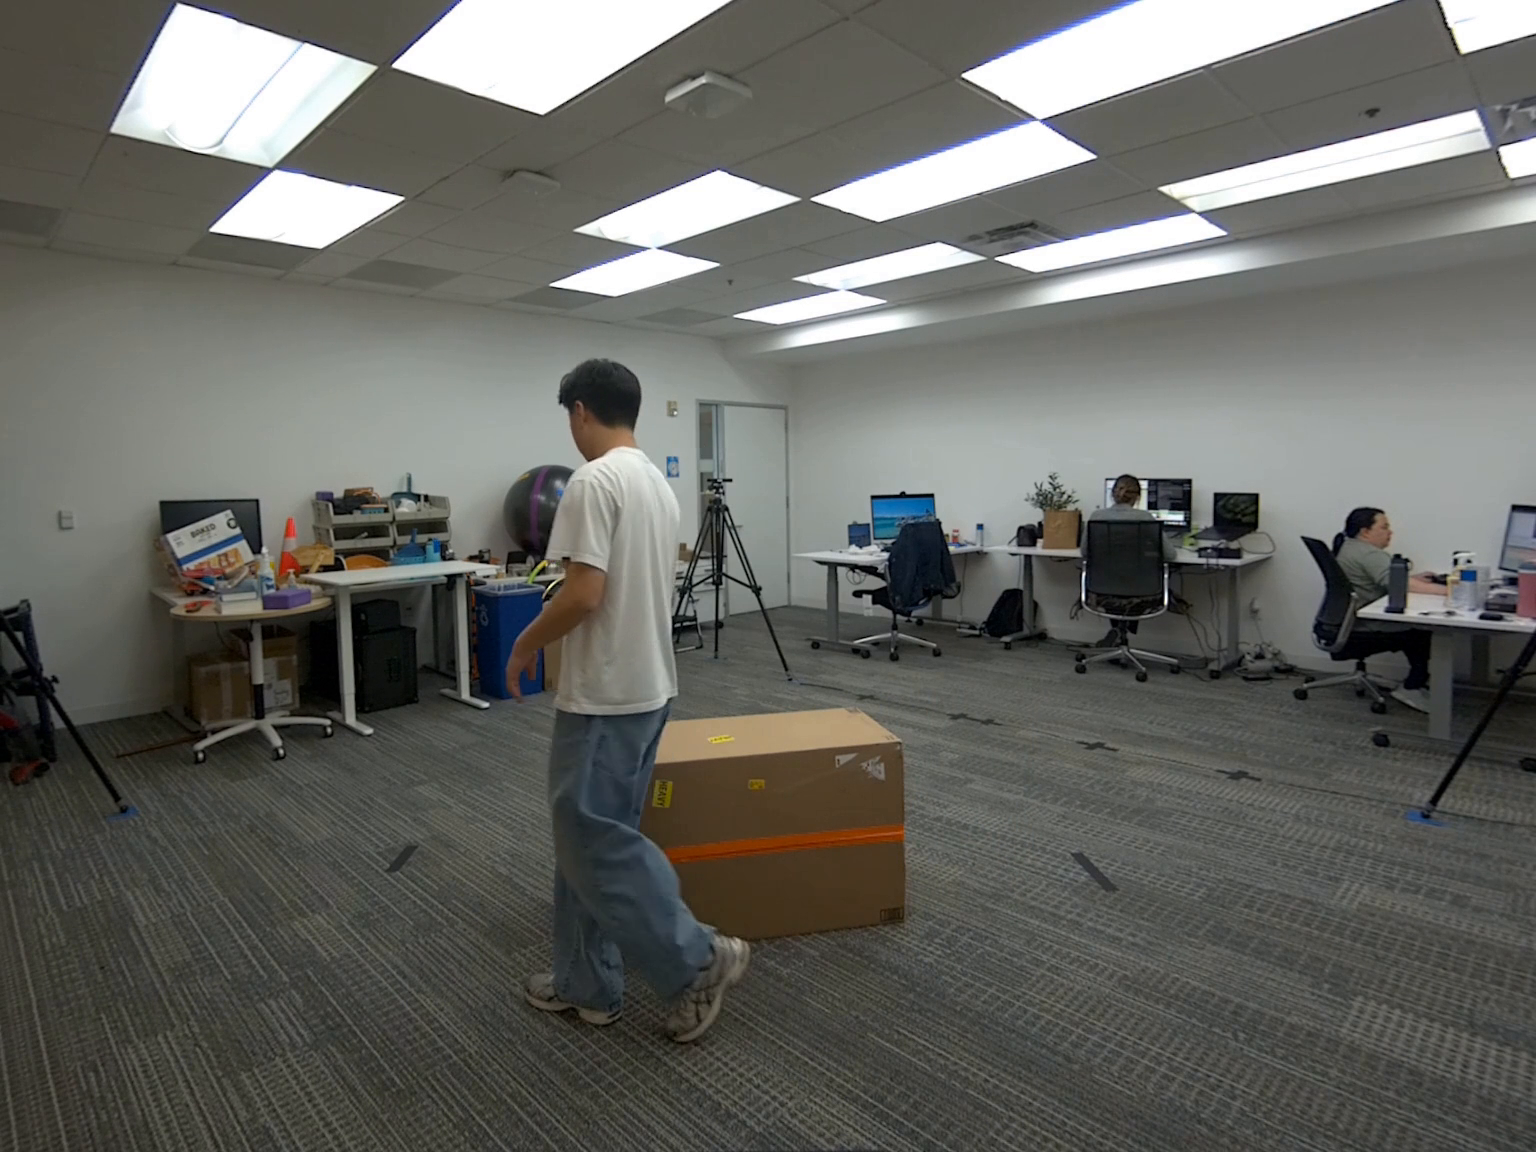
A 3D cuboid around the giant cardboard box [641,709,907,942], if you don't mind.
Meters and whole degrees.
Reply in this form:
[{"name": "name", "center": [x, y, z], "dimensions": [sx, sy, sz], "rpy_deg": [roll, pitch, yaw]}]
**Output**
[{"name": "giant cardboard box", "center": [-0.115, 0.796, 2.766], "dimensions": [1.015, 0.575, 0.432], "rpy_deg": [-3, 5, -11]}]
